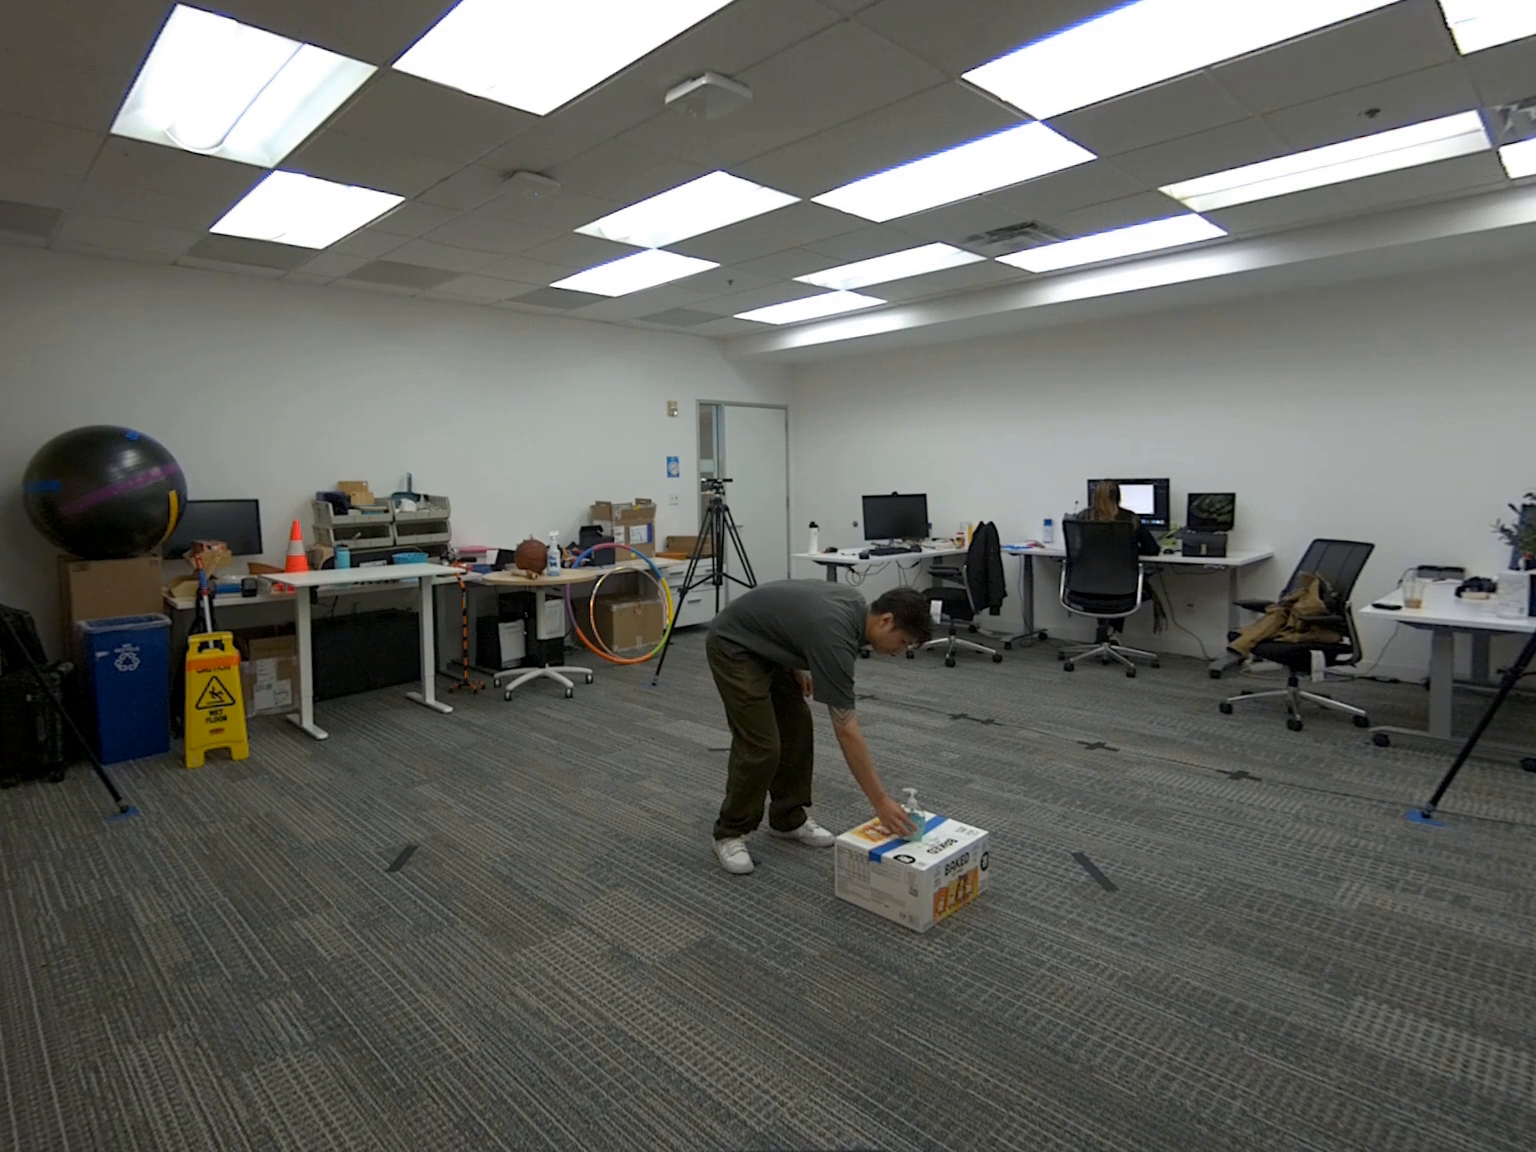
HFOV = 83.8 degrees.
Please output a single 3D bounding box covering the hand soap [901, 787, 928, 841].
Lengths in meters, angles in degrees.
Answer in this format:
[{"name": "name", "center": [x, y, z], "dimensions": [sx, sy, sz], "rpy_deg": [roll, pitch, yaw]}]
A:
[{"name": "hand soap", "center": [0.477, 0.788, 2.831], "dimensions": [0.084, 0.167, 0.044], "rpy_deg": [0, 7, -1]}]
